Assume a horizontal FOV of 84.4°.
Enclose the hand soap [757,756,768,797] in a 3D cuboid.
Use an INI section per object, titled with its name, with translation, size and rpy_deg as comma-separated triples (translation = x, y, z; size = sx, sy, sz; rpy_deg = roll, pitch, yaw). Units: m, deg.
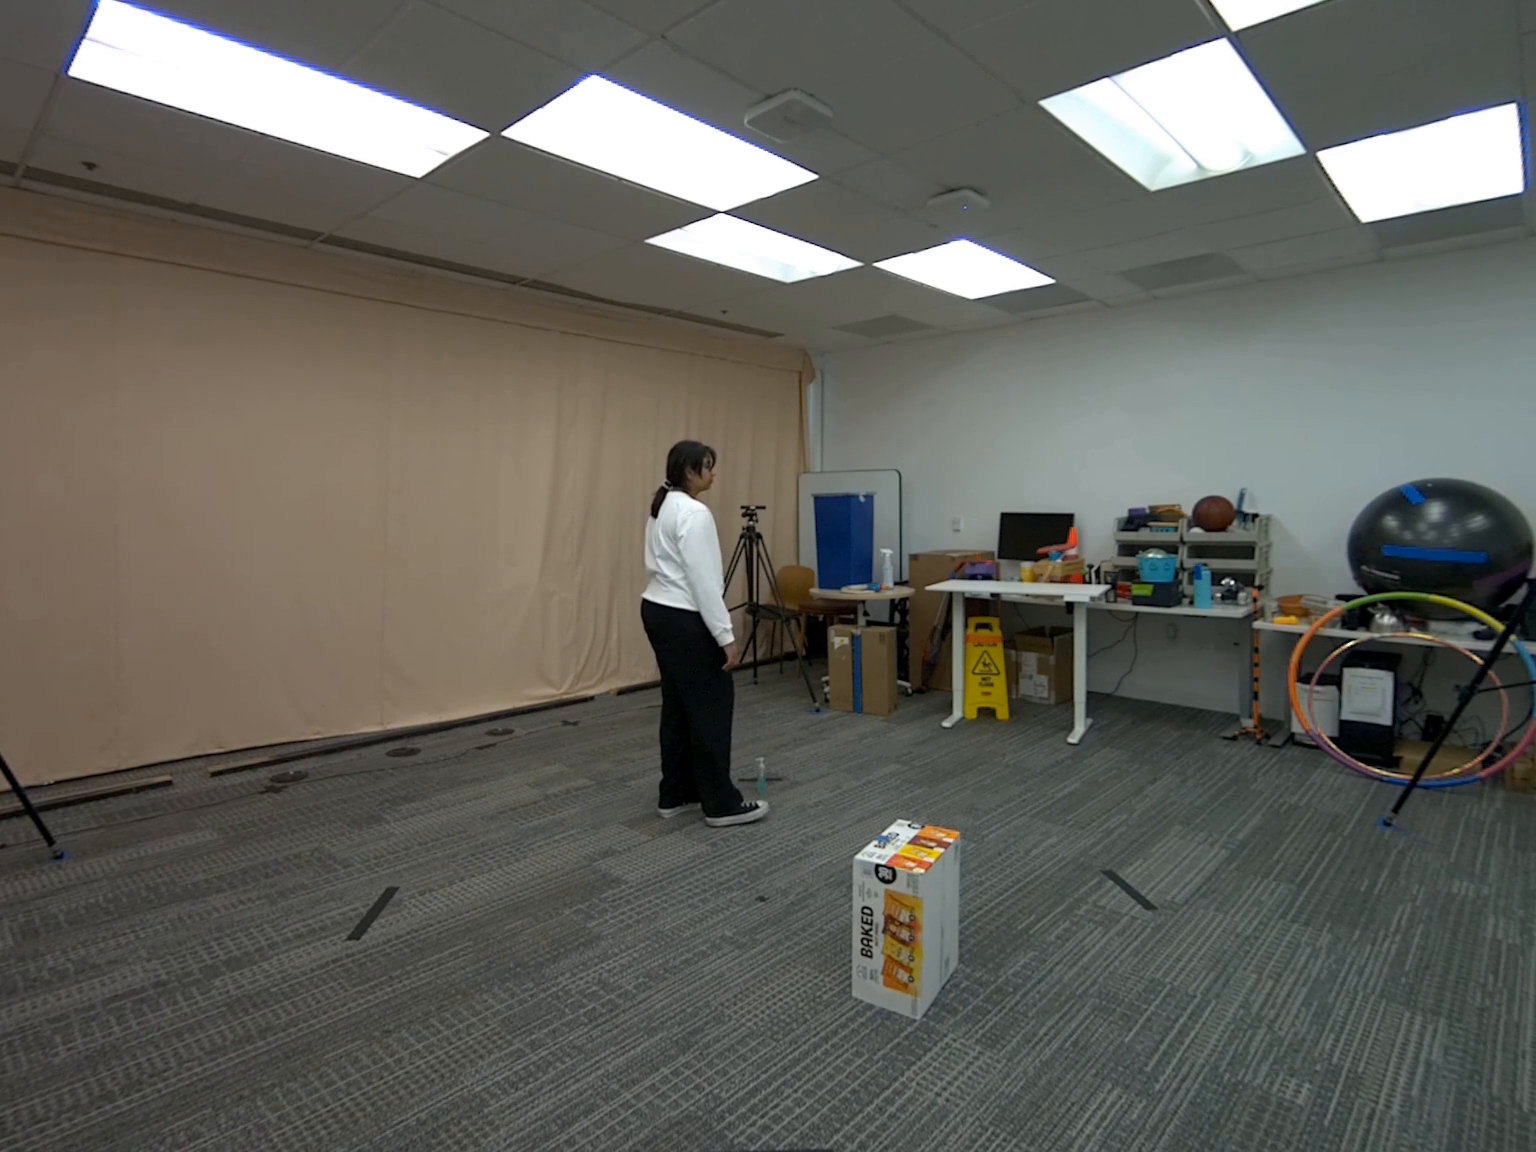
[hand soap]
translation = -0.029, 0.969, 4.112
size = 0.043, 0.168, 0.085
rpy_deg = 1, 5, -2
